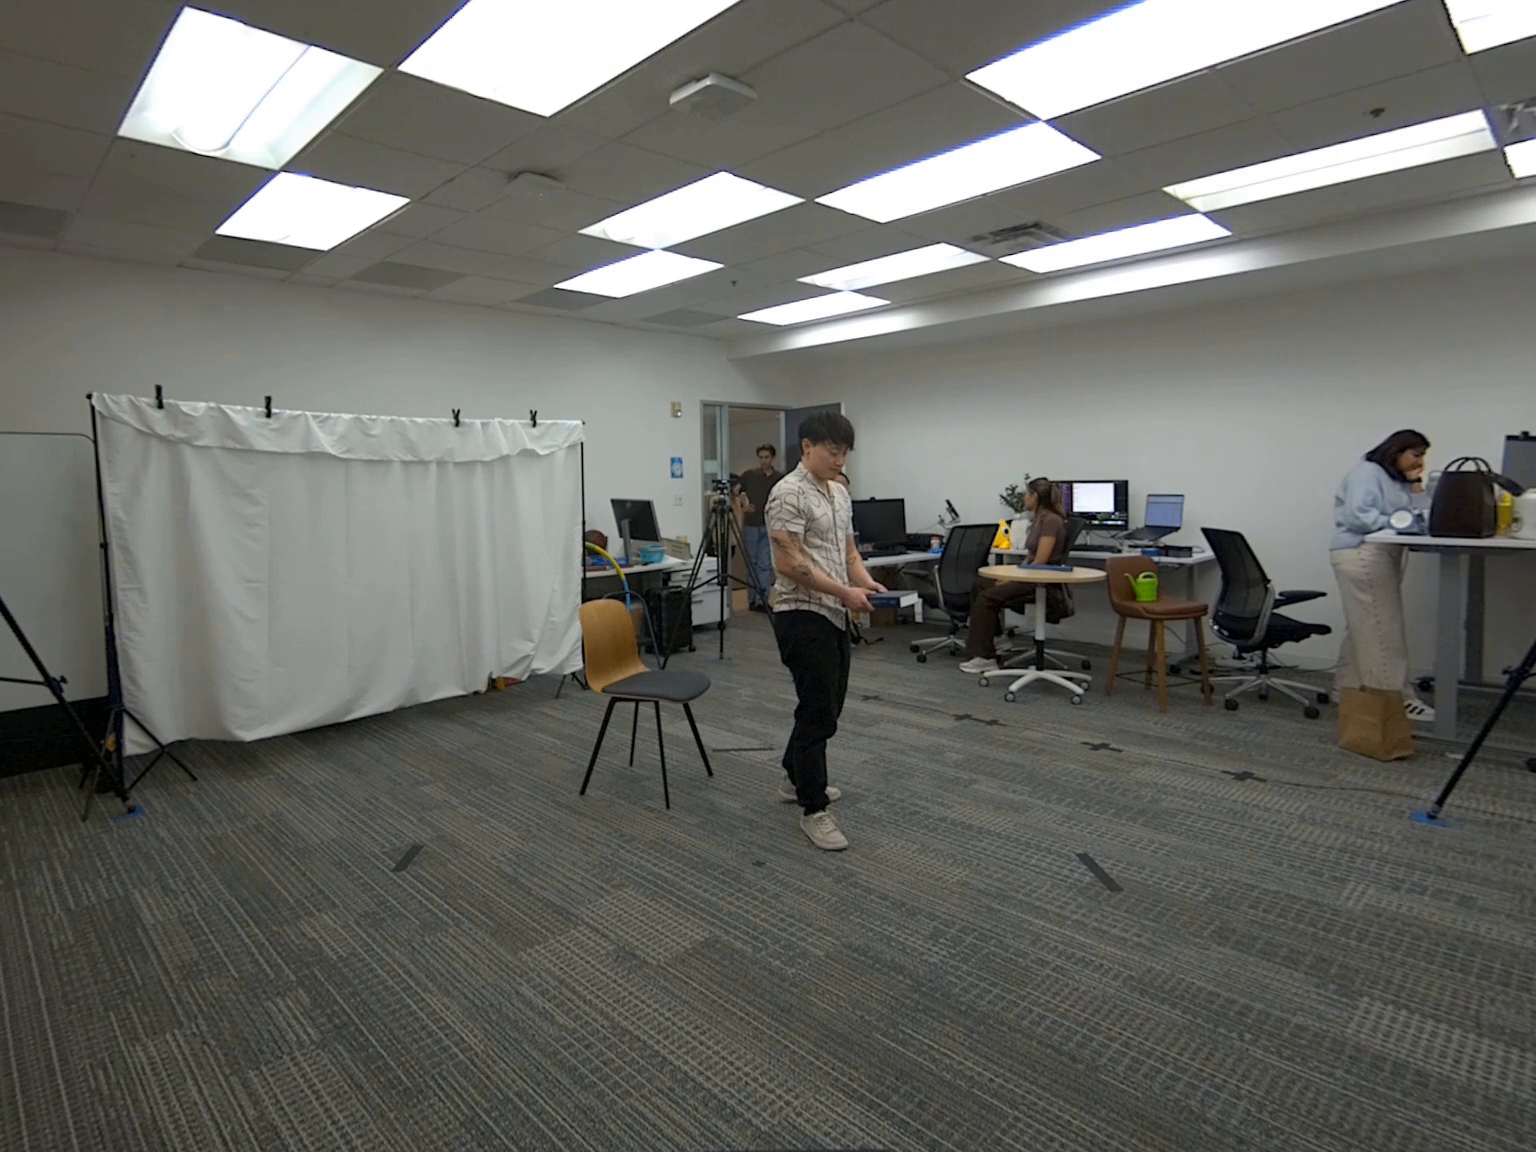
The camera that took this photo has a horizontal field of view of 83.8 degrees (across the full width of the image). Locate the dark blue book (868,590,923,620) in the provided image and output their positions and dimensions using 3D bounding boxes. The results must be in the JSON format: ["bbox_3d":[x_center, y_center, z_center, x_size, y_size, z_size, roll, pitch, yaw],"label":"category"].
[{"bbox_3d":[0.404,0.097,3.231,0.251,0.045,0.160,-4,4,31],"label":"dark blue book"}]
